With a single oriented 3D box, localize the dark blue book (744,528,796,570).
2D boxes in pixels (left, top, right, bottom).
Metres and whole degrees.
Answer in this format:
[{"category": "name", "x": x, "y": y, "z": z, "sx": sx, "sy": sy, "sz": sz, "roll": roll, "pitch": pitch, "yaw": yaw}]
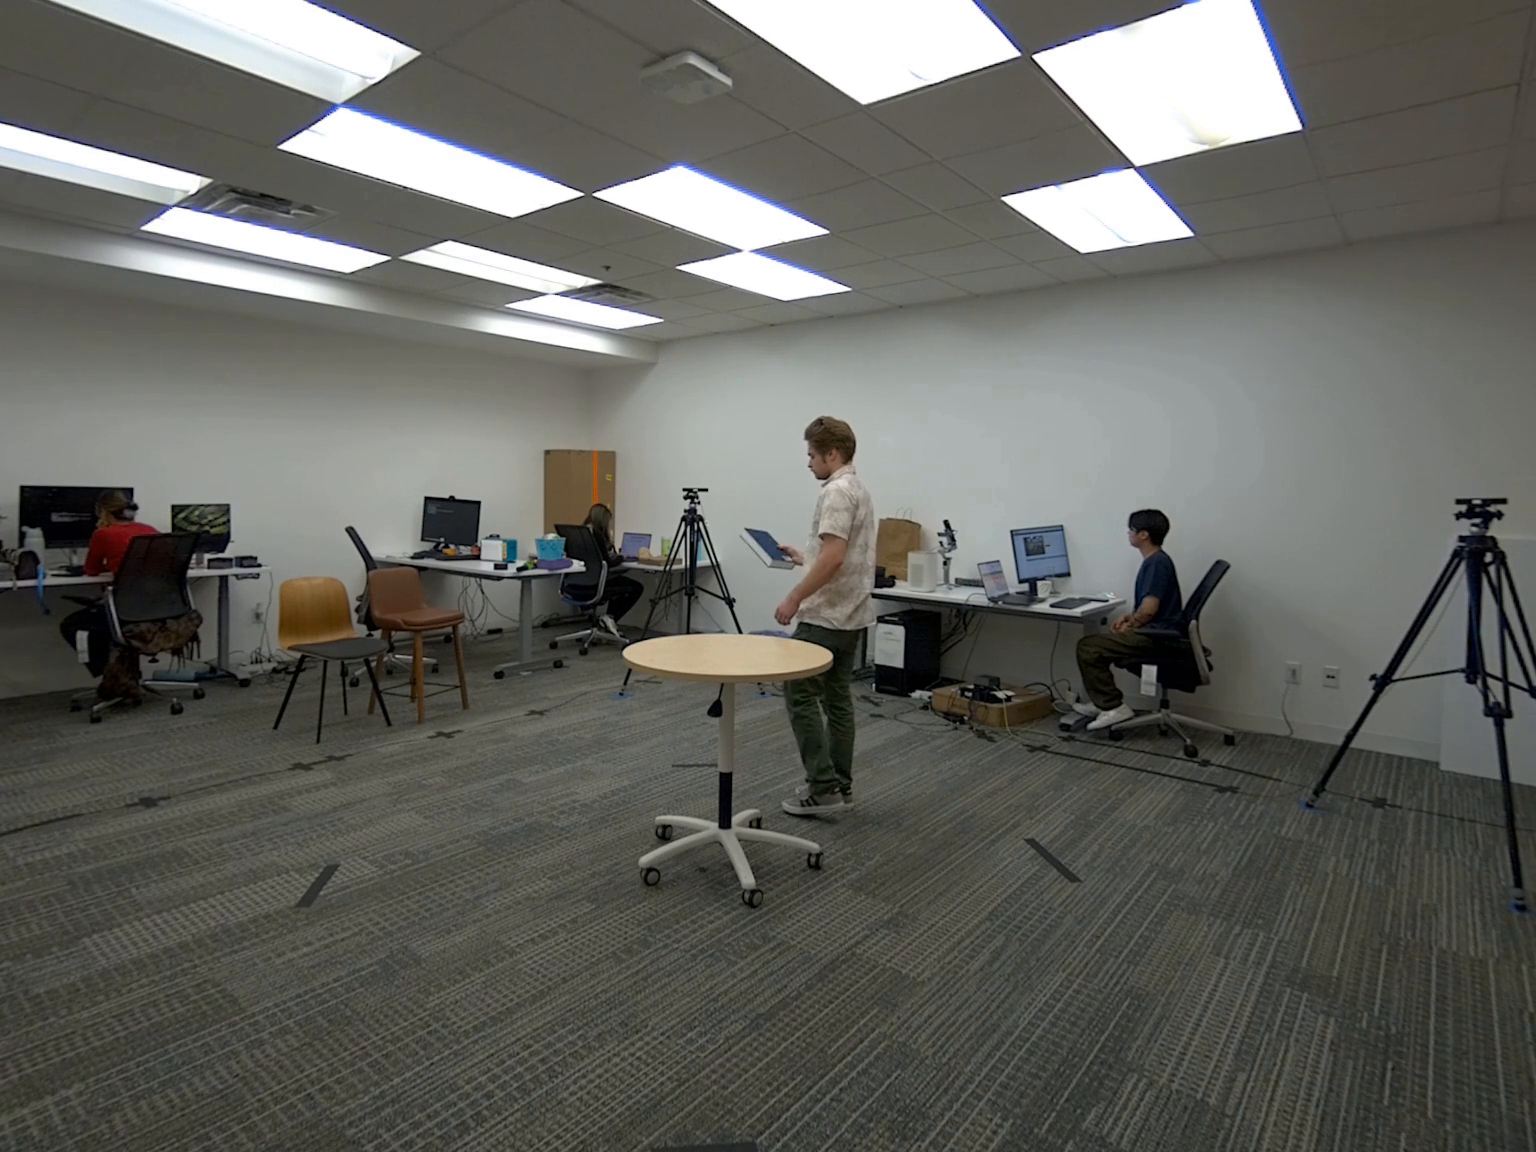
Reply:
[{"category": "dark blue book", "x": 0.000, "y": -0.131, "z": 3.924, "sx": 0.158, "sy": 0.045, "sz": 0.255, "roll": 6, "pitch": 32, "yaw": -45}]
